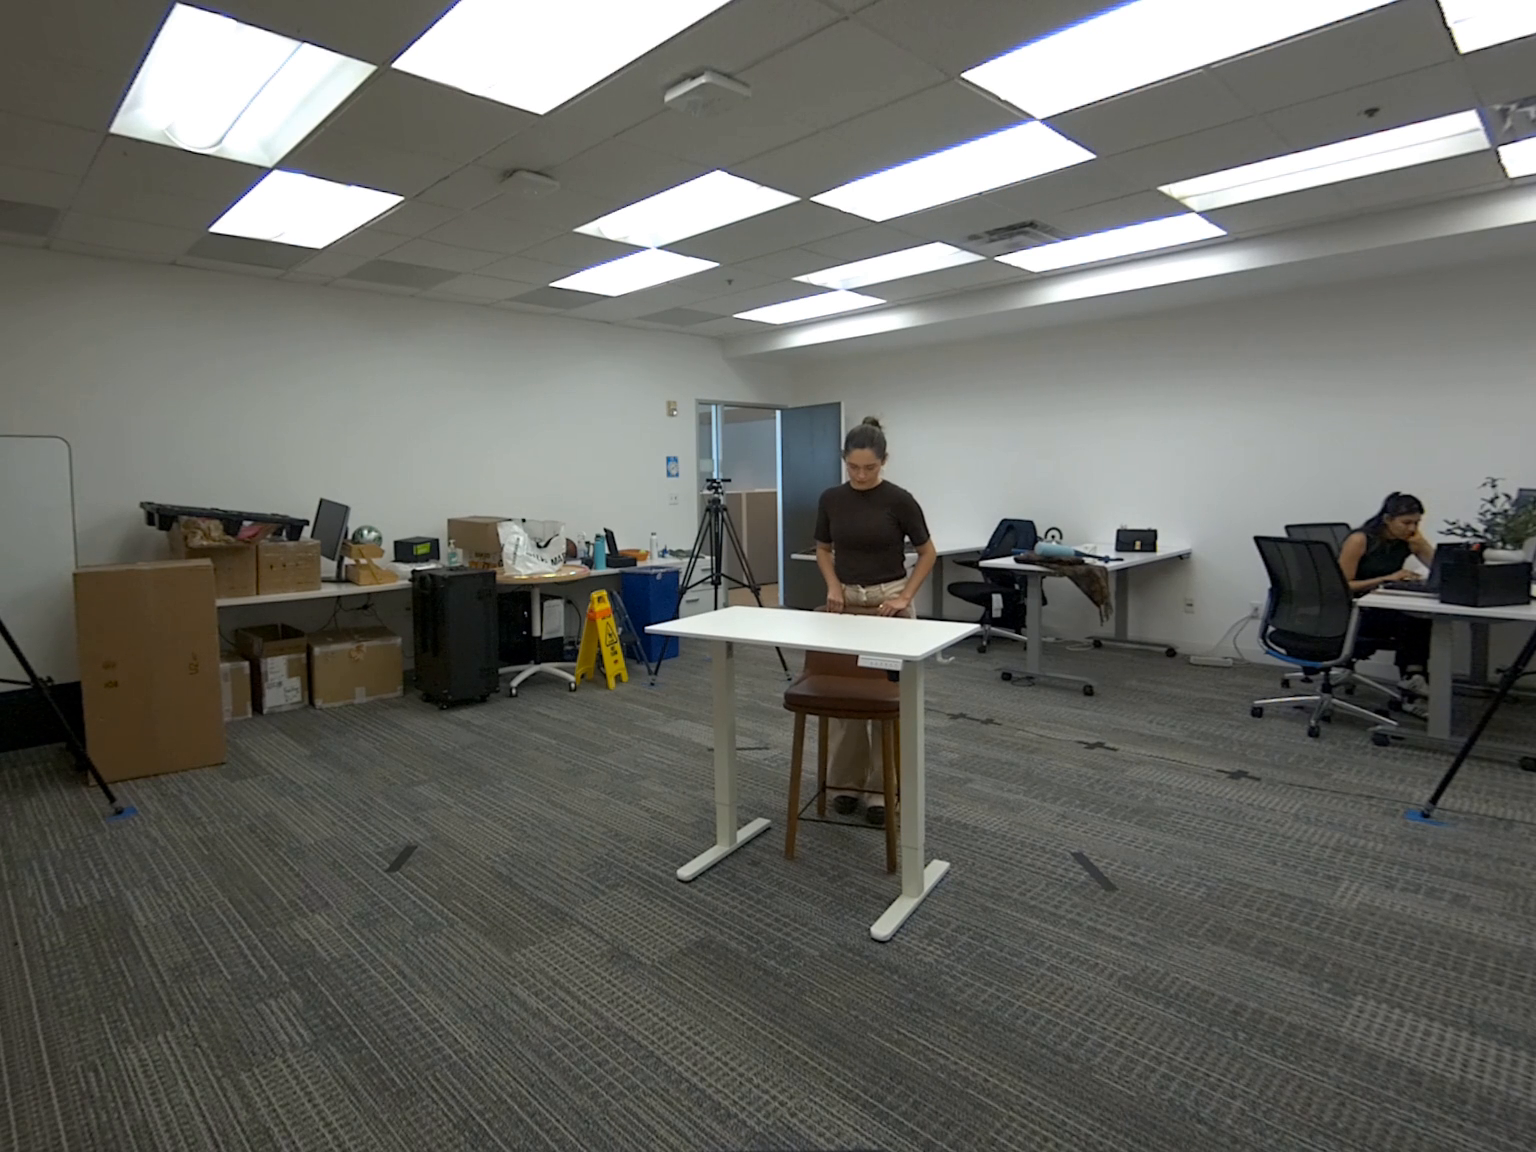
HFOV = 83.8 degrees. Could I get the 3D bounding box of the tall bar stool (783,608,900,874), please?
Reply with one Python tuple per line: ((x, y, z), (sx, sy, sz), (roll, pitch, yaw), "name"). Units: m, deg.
((0.318, 0.587, 3.254), (0.466, 0.889, 0.459), (1, 1, 21), "tall bar stool")
